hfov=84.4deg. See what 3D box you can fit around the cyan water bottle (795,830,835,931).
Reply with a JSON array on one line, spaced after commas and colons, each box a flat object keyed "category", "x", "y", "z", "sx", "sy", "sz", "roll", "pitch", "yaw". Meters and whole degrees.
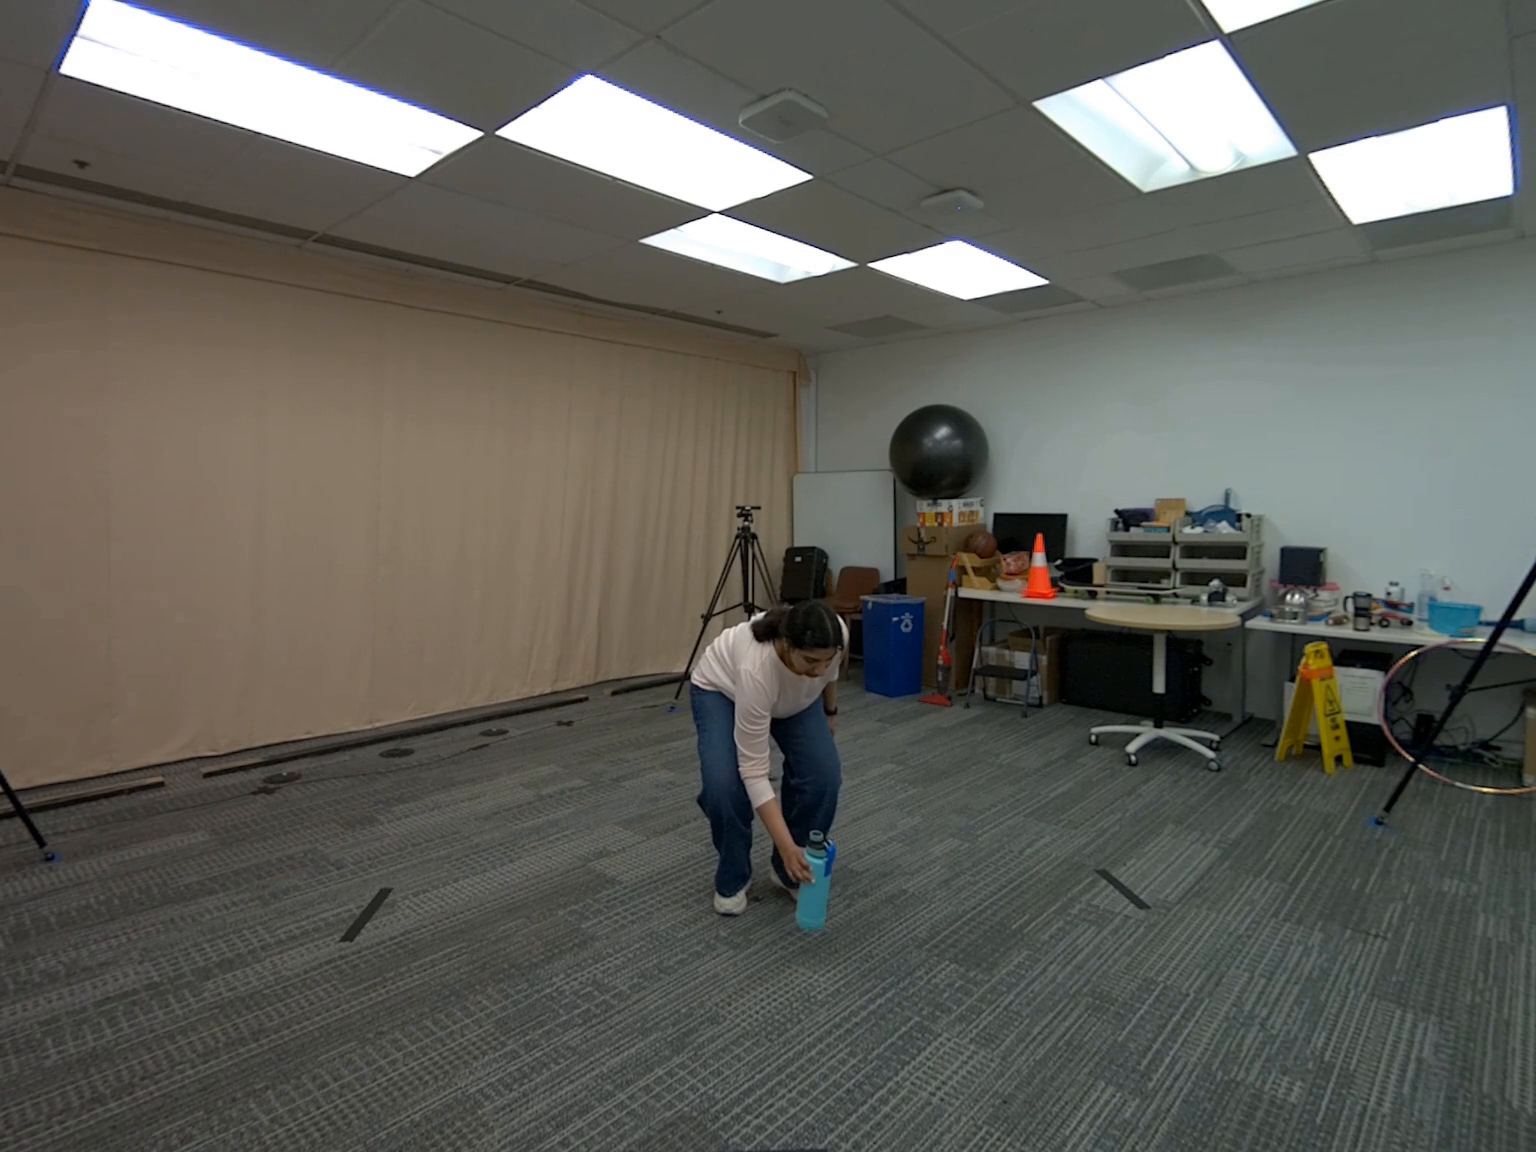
[{"category": "cyan water bottle", "x": 0.148, "y": 0.917, "z": 2.554, "sx": 0.092, "sy": 0.282, "sz": 0.093, "roll": 5, "pitch": 8, "yaw": -3}]
